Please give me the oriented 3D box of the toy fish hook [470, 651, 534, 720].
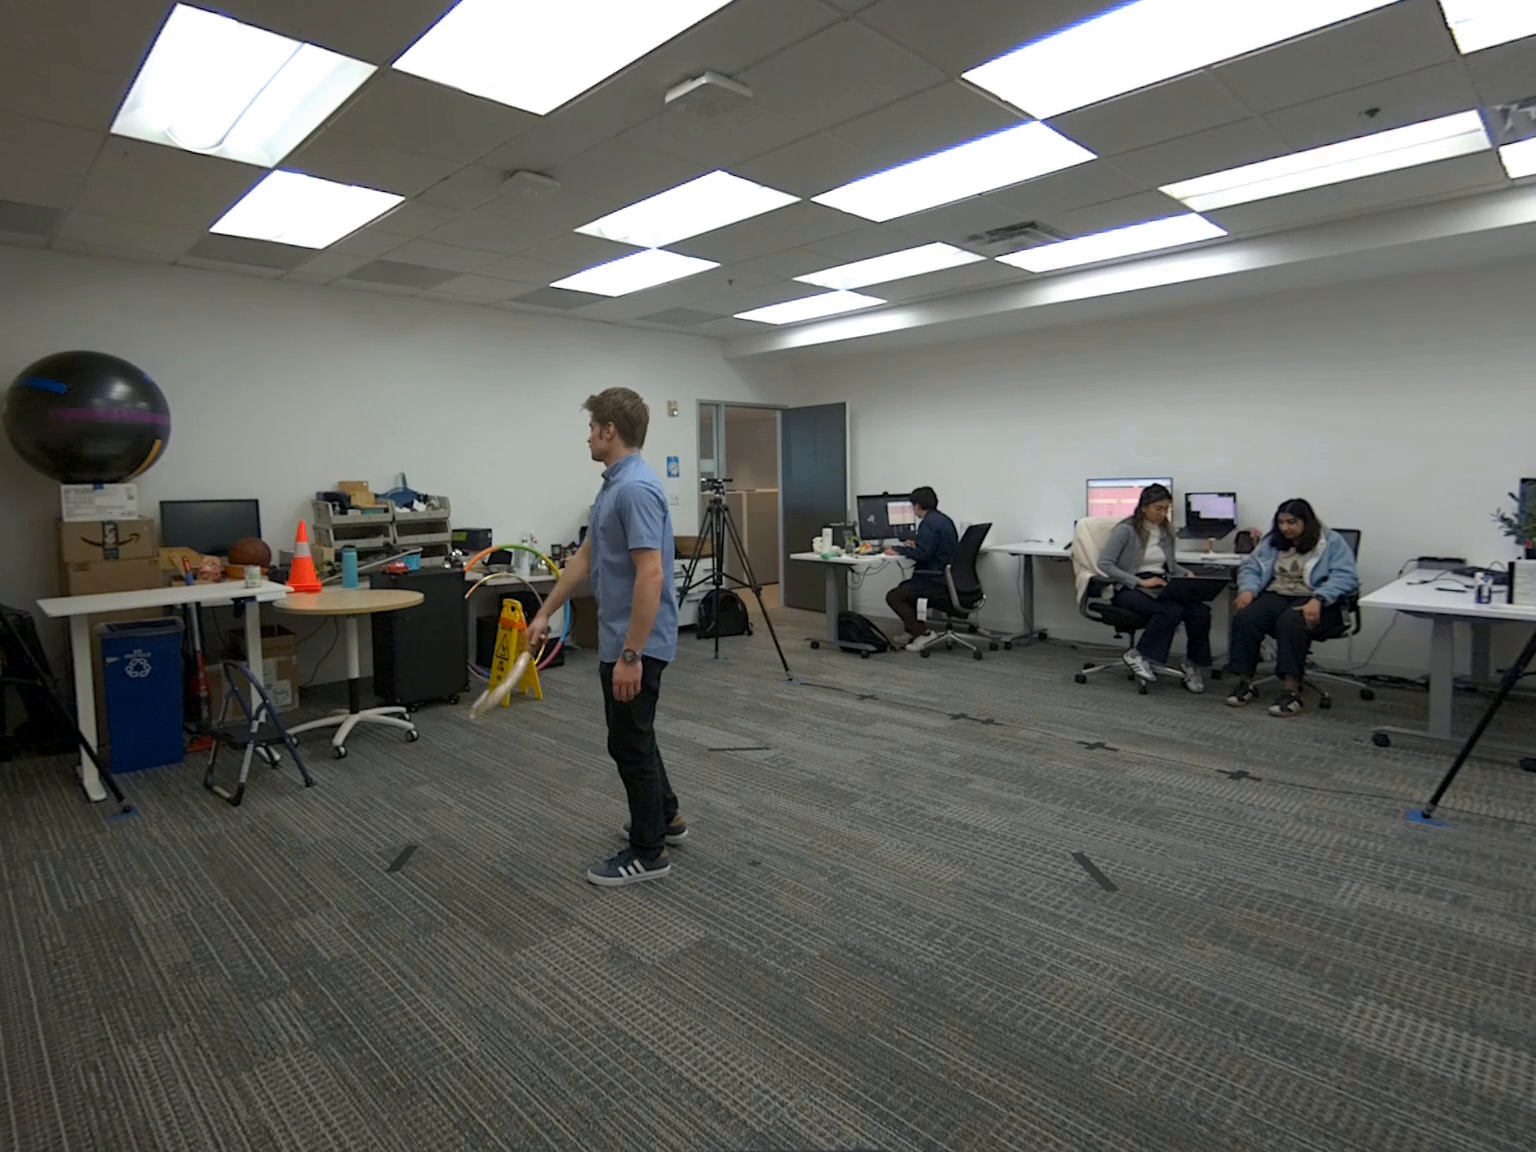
[{"bbox_3d":[-0.878,0.318,2.932,0.226,0.047,0.512,-31,16,20],"label":"toy fish hook"}]
